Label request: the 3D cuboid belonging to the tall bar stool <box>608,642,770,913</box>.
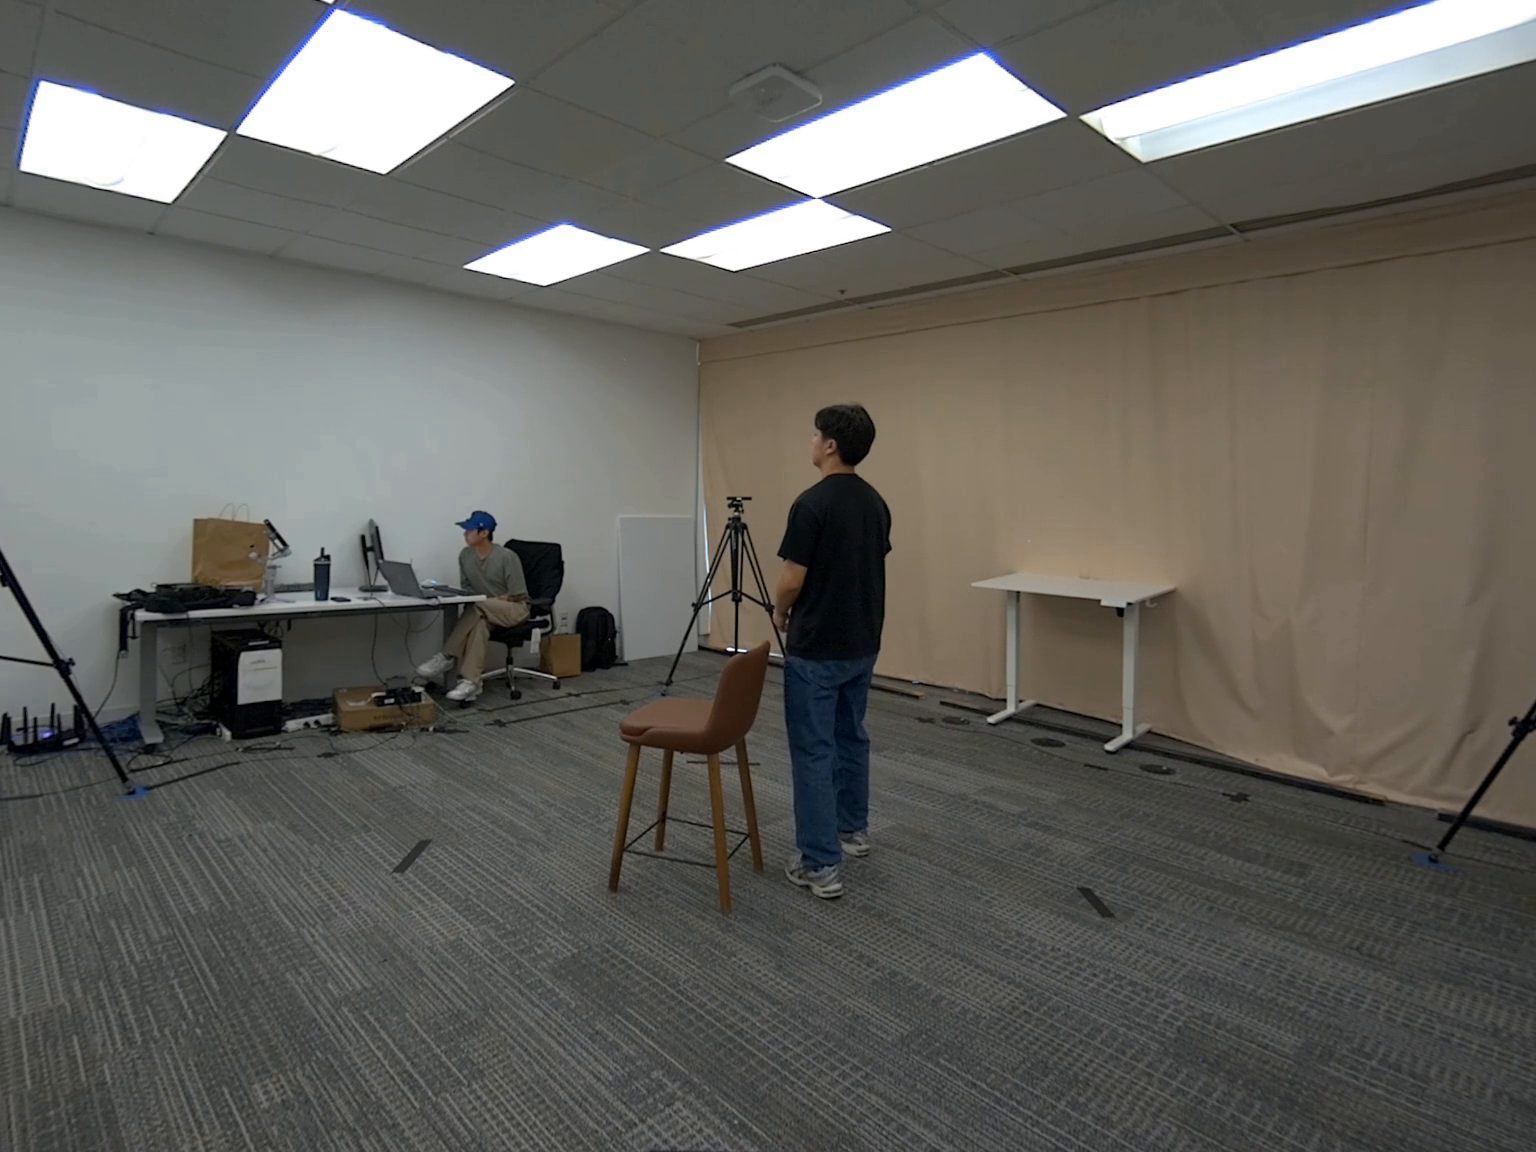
[{"bbox_3d":[-0.275,0.678,3.037,0.476,0.887,0.450,4,5,21],"label":"tall bar stool"}]
